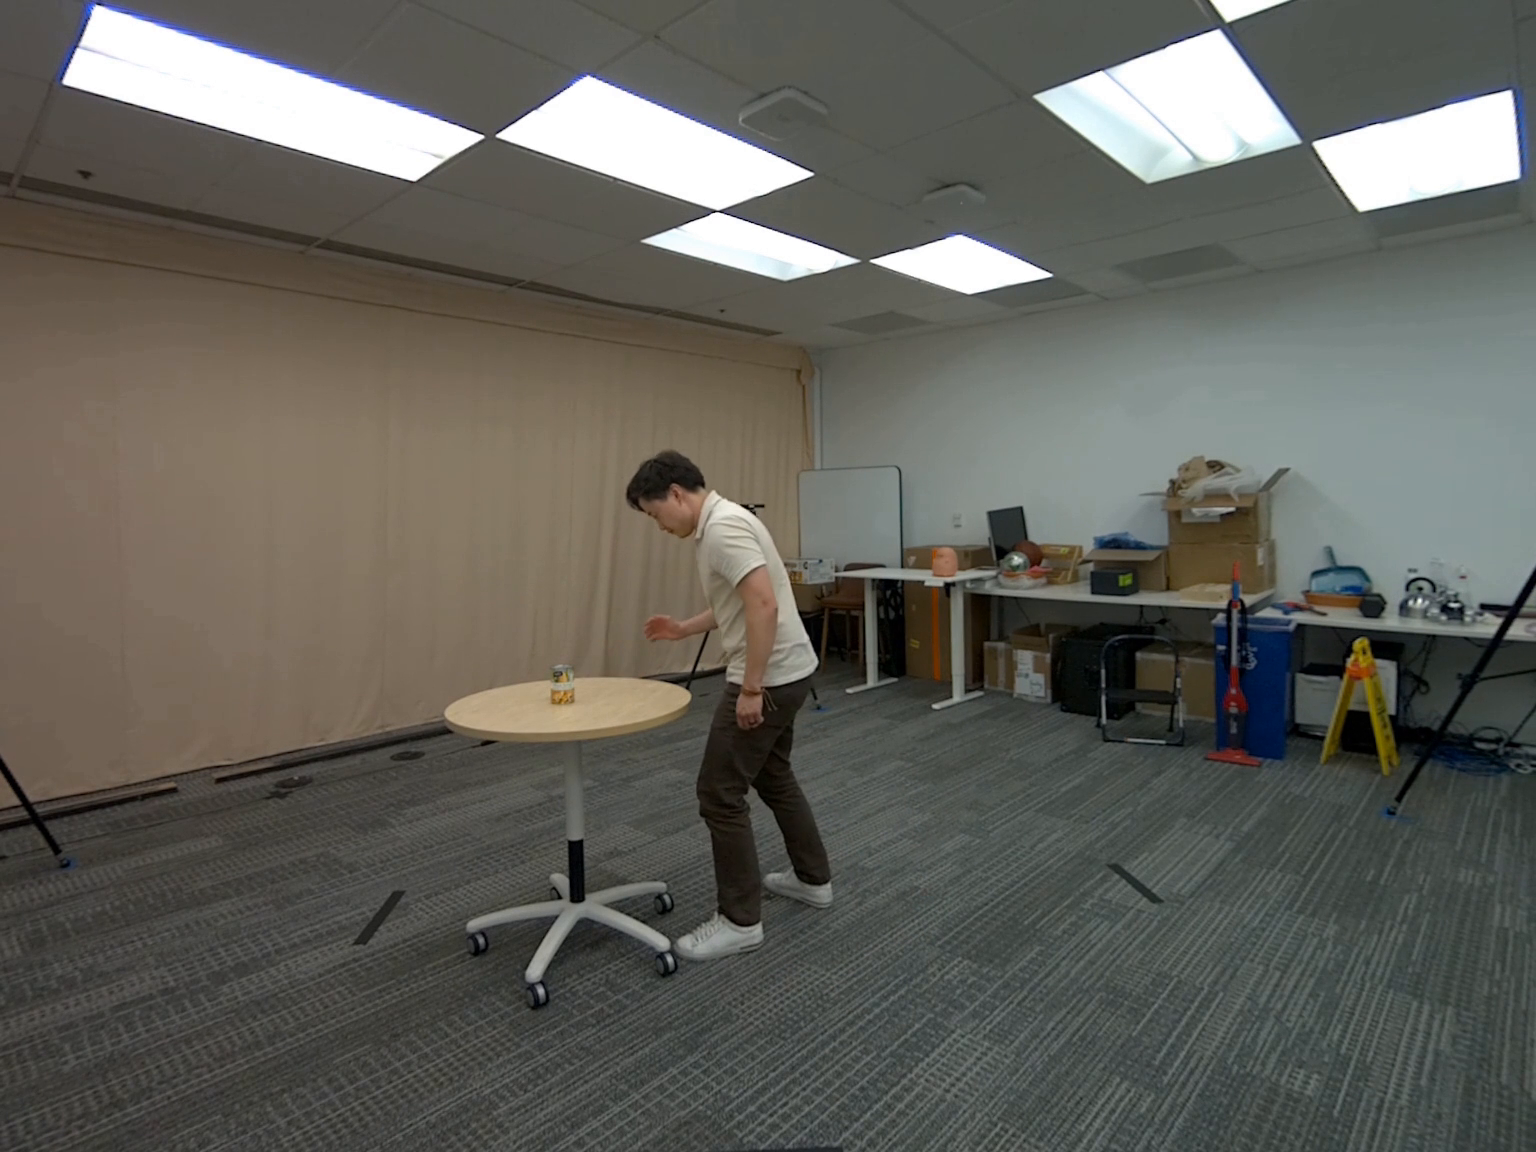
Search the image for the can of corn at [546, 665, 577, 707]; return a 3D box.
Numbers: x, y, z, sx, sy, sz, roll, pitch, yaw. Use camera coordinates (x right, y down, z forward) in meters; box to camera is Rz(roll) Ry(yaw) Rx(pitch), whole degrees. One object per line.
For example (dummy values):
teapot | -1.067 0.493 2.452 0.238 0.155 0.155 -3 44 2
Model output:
can of corn | -0.649 0.343 2.654 0.074 0.111 0.074 -4 1 -2
